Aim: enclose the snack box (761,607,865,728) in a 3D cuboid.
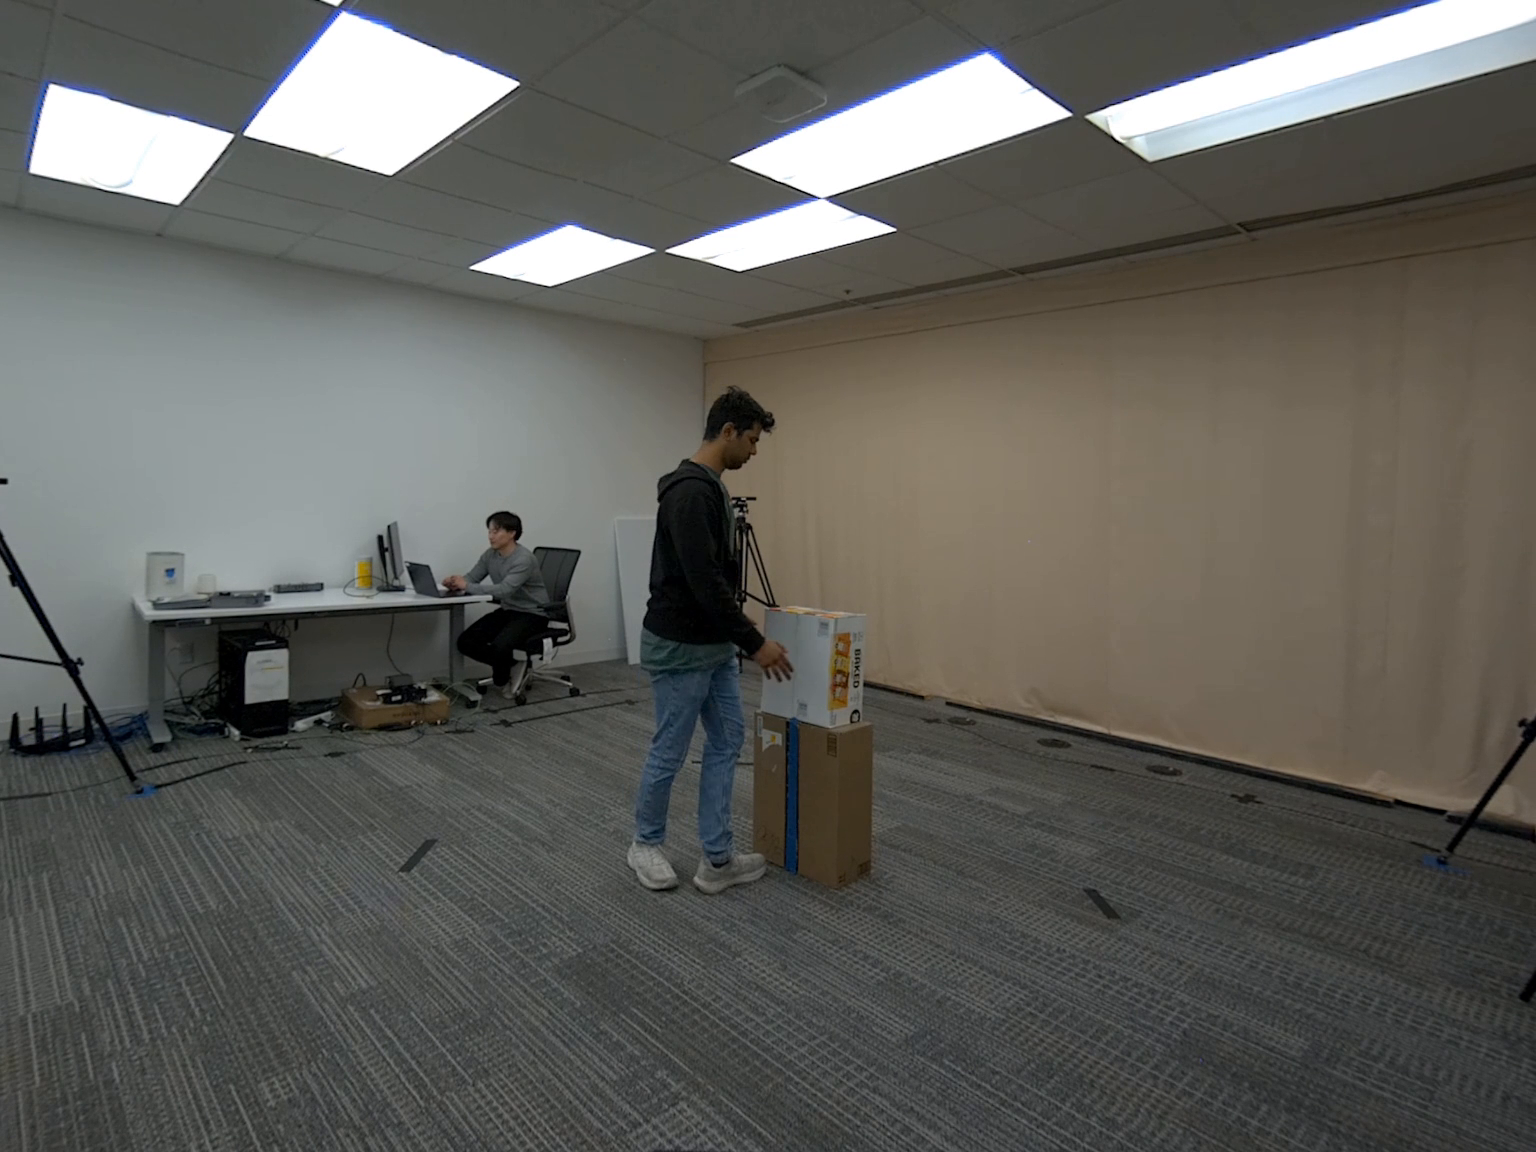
[{"bbox_3d":[0.160,0.336,3.210,0.349,0.404,0.201,5,3,44],"label":"snack box"}]
